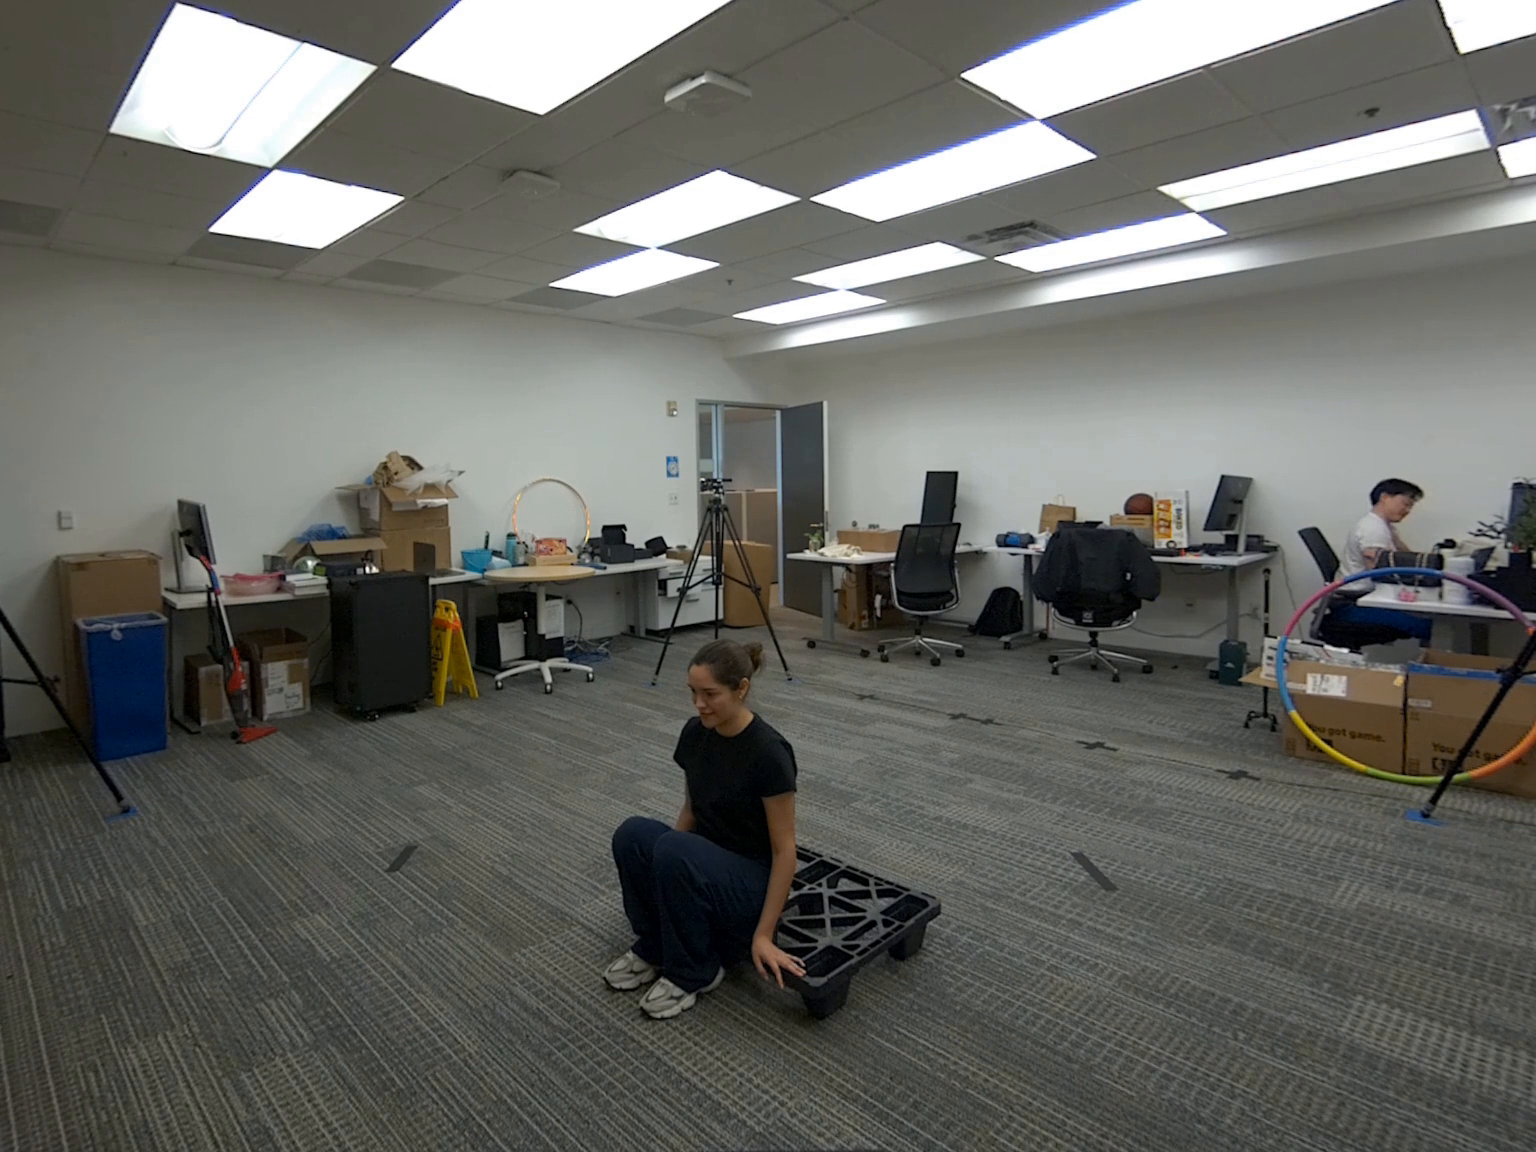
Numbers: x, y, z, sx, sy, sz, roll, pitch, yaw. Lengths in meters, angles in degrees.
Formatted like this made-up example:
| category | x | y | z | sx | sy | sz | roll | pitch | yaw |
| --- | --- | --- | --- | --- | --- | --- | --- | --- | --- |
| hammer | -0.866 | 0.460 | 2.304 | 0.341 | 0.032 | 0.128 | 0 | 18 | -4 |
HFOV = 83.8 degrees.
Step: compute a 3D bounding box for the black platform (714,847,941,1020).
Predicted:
| category | x | y | z | sx | sy | sz | roll | pitch | yaw |
| --- | --- | --- | --- | --- | --- | --- | --- | --- | --- |
| black platform | 0.032 | 1.029 | 2.644 | 0.831 | 0.143 | 0.589 | 6 | 9 | 44 |
